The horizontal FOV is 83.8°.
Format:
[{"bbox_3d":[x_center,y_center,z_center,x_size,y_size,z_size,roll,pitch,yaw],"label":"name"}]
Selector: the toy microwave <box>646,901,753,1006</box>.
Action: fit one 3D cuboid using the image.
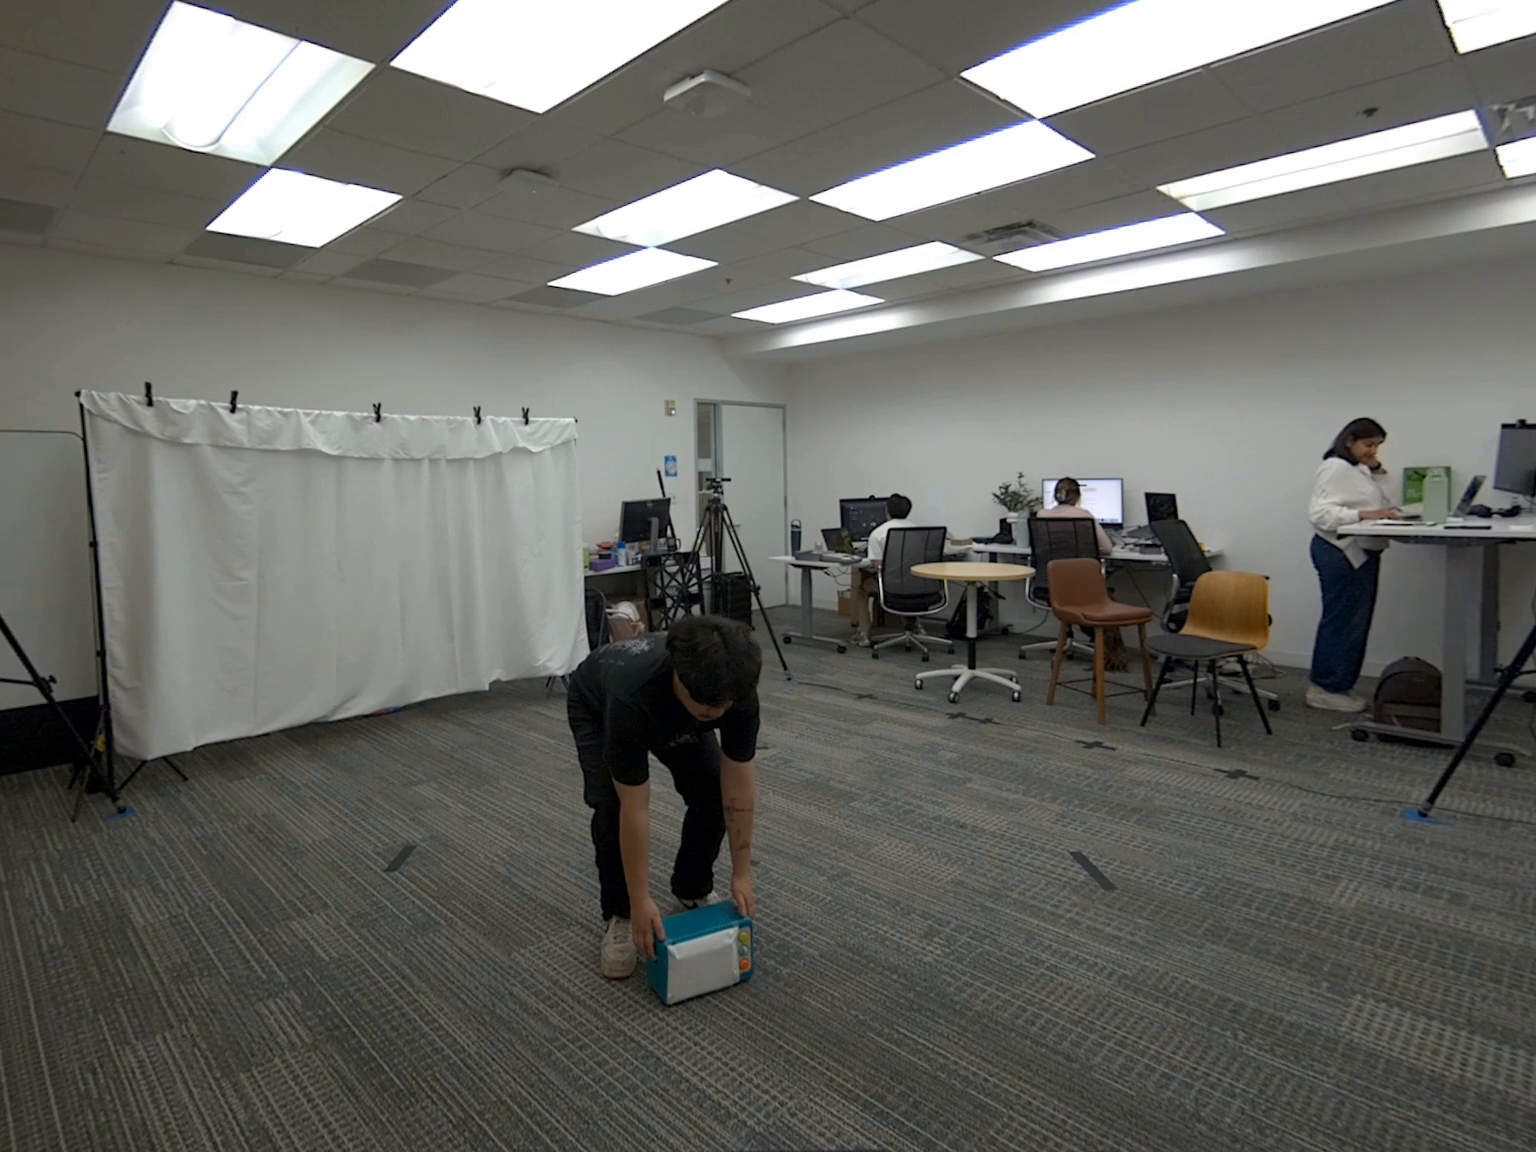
[{"bbox_3d":[-0.184,1.044,2.367,0.280,0.183,0.156,-6,7,-28],"label":"toy microwave"}]
